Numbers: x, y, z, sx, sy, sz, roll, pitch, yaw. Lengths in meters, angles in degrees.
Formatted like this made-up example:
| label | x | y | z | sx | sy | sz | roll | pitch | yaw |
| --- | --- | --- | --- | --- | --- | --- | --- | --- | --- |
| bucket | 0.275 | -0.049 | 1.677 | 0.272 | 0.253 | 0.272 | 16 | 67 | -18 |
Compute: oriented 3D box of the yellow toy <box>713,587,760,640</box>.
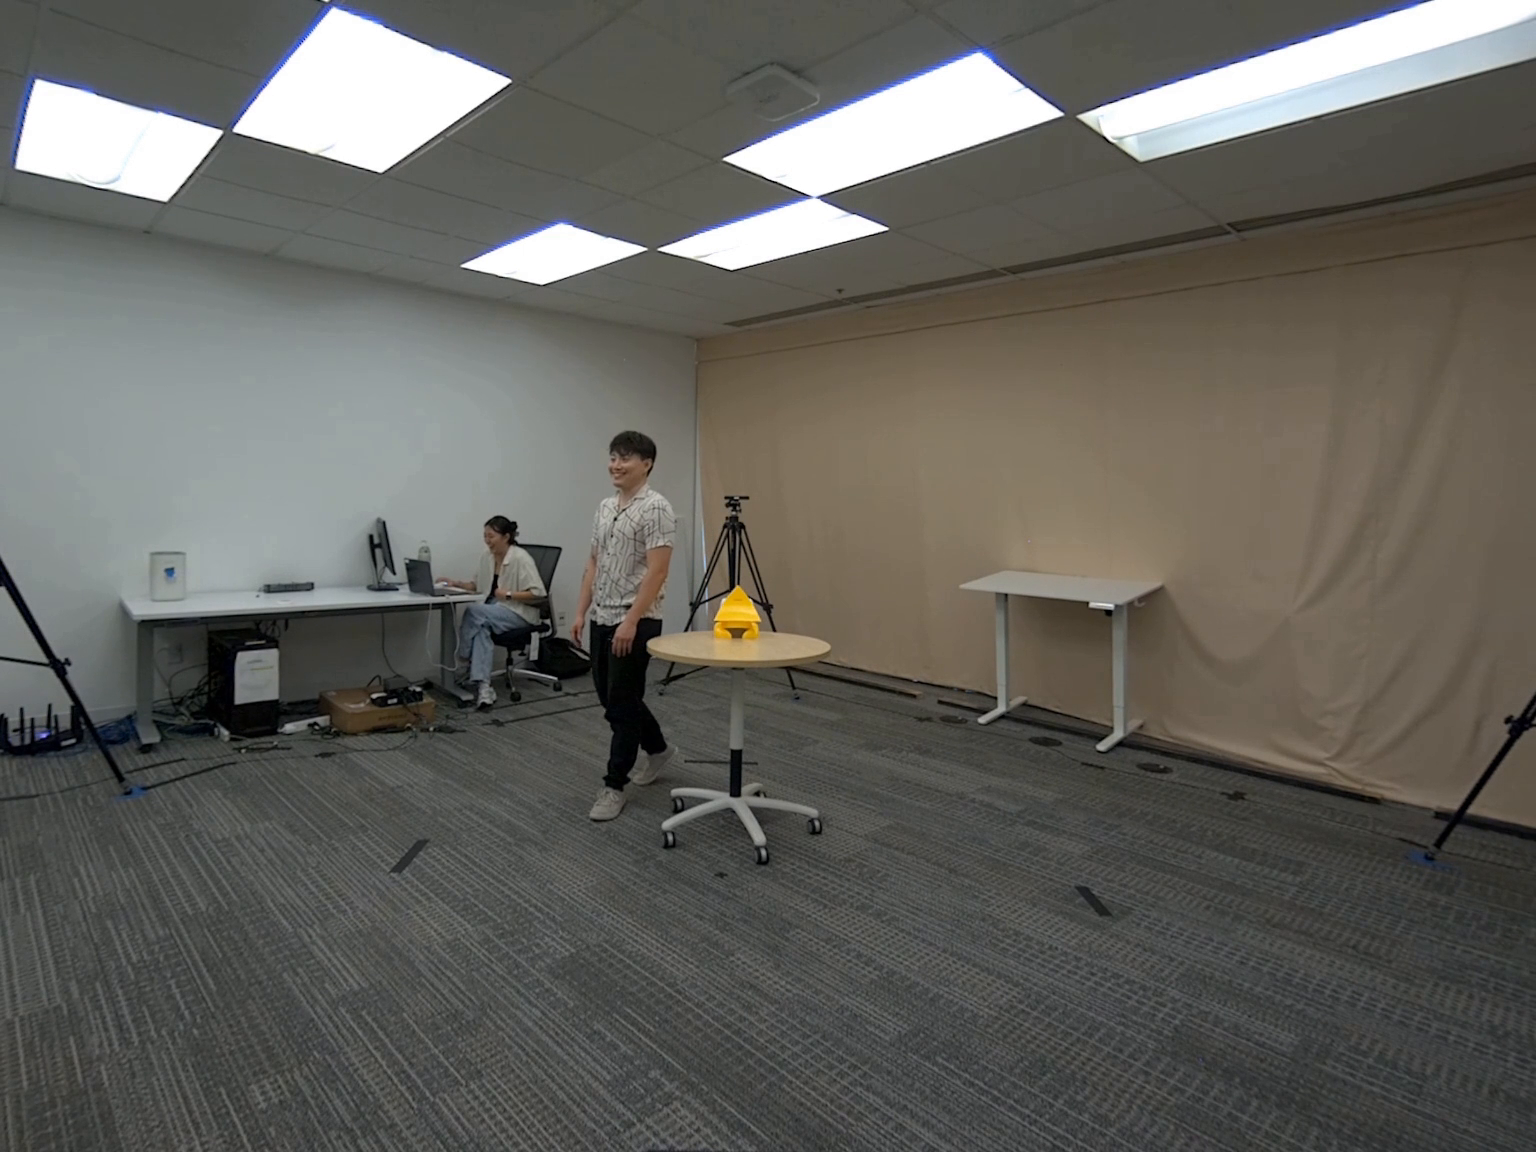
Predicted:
| label | x | y | z | sx | sy | sz | roll | pitch | yaw |
| --- | --- | --- | --- | --- | --- | --- | --- | --- | --- |
| yellow toy | -0.151 | 0.149 | 3.734 | 0.204 | 0.230 | 0.194 | 1 | 4 | -4 |
